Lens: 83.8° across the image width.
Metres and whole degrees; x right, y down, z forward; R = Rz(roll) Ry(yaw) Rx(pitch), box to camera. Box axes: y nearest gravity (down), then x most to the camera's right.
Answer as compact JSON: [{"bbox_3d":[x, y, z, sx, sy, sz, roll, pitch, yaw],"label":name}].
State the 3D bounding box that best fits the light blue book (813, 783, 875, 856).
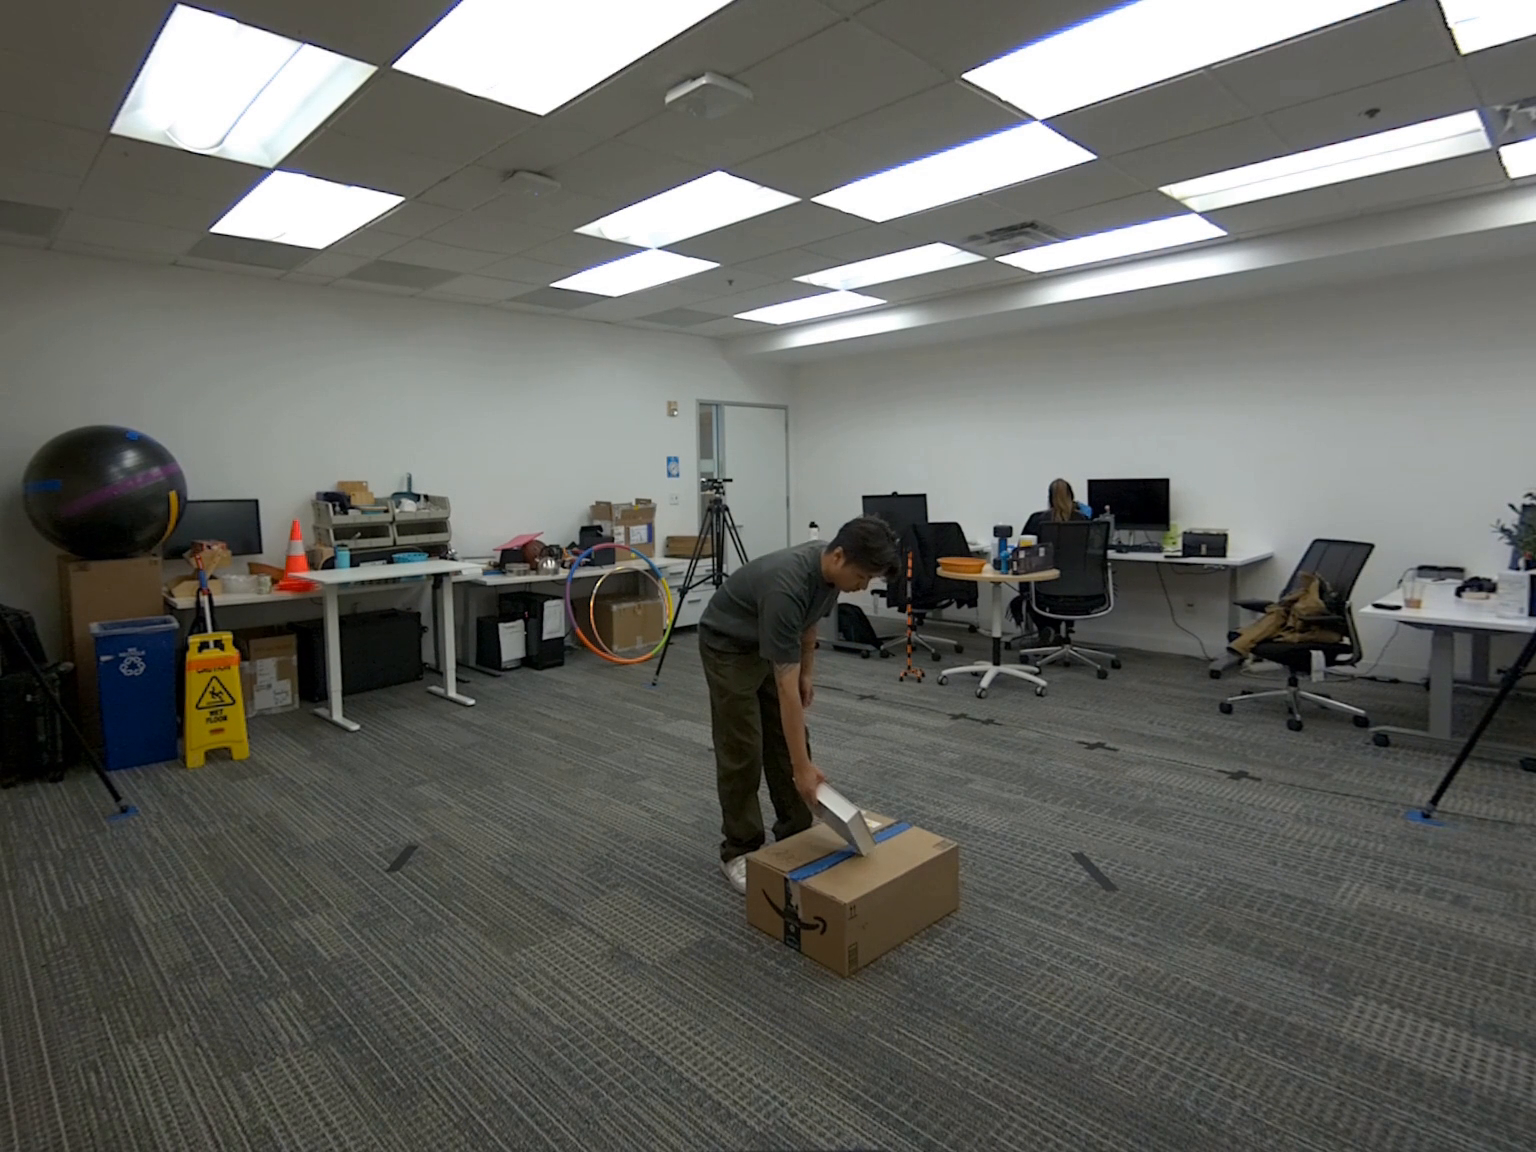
[{"bbox_3d":[0.211,0.746,2.713,0.059,0.185,0.271,-39,37,-19],"label":"light blue book"}]
